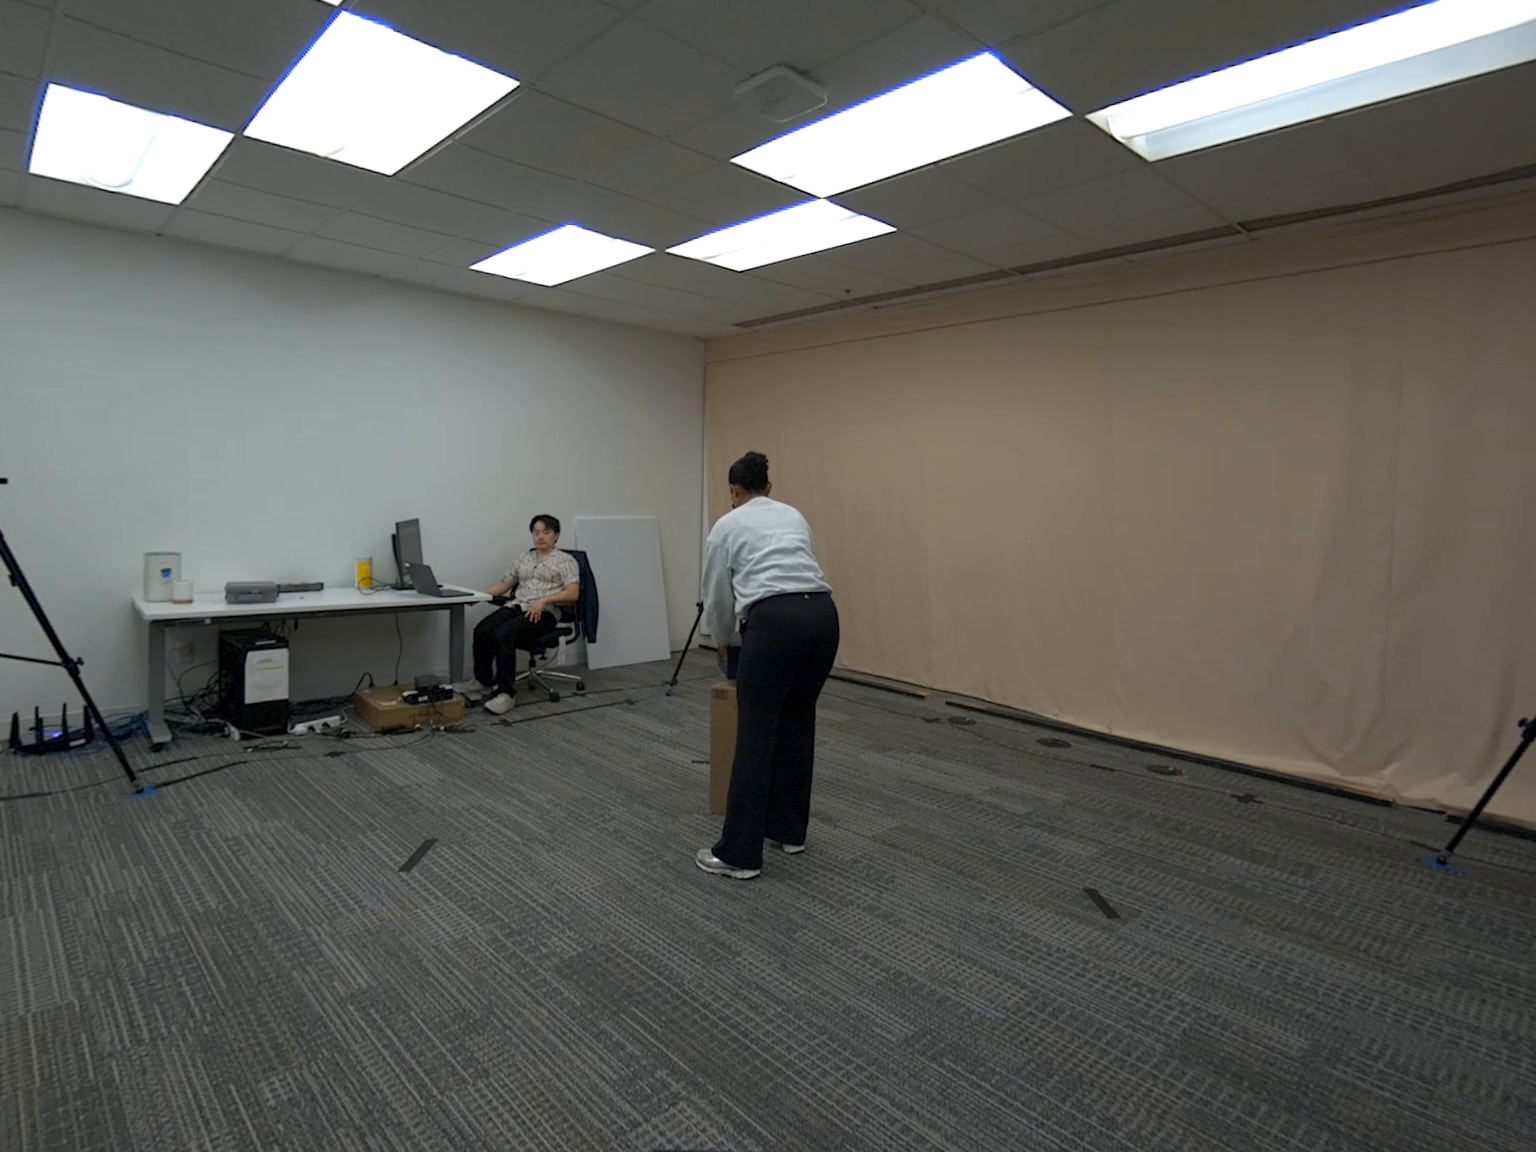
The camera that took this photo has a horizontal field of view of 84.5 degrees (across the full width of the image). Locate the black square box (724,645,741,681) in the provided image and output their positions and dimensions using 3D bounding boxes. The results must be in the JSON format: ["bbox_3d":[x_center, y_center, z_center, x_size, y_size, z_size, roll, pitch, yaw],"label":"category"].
[{"bbox_3d":[-0.100,0.353,3.790,0.225,0.155,0.221,-2,11,-14],"label":"black square box"}]
